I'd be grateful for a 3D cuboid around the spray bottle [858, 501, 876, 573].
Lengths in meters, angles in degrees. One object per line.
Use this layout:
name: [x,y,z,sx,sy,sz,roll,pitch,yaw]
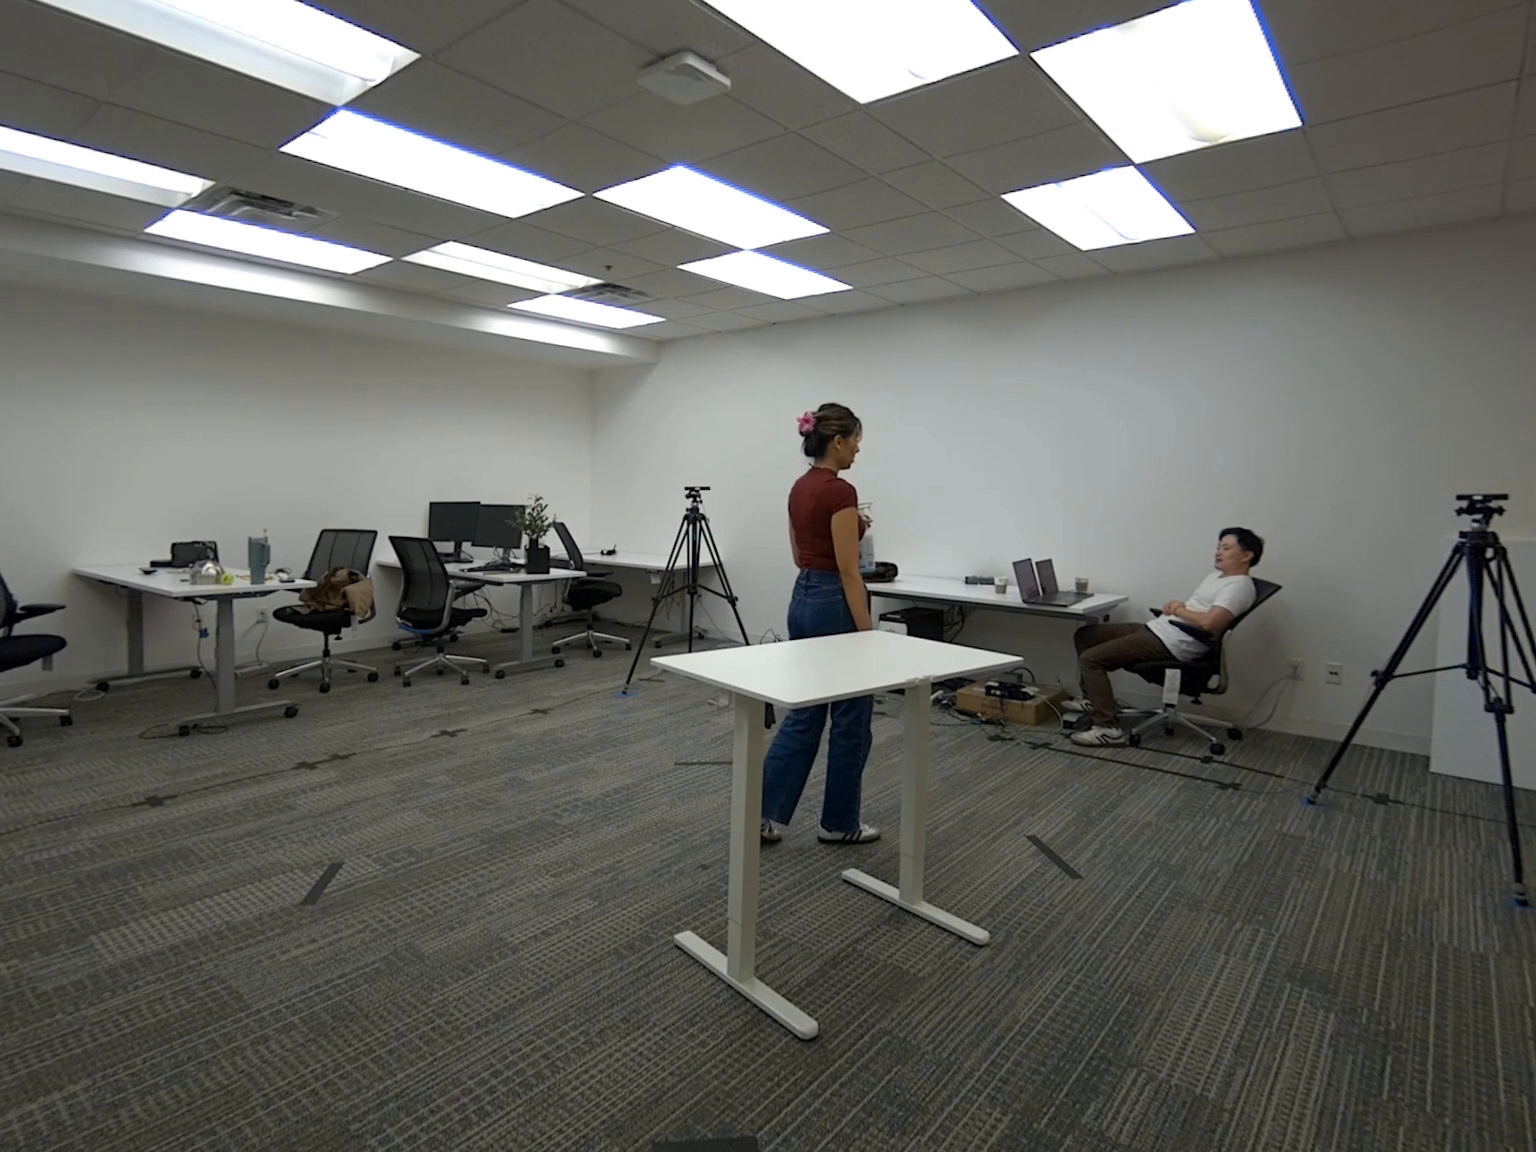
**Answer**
spray bottle: [0.393,-0.168,3.601,0.093,0.296,0.085,0,6,35]
